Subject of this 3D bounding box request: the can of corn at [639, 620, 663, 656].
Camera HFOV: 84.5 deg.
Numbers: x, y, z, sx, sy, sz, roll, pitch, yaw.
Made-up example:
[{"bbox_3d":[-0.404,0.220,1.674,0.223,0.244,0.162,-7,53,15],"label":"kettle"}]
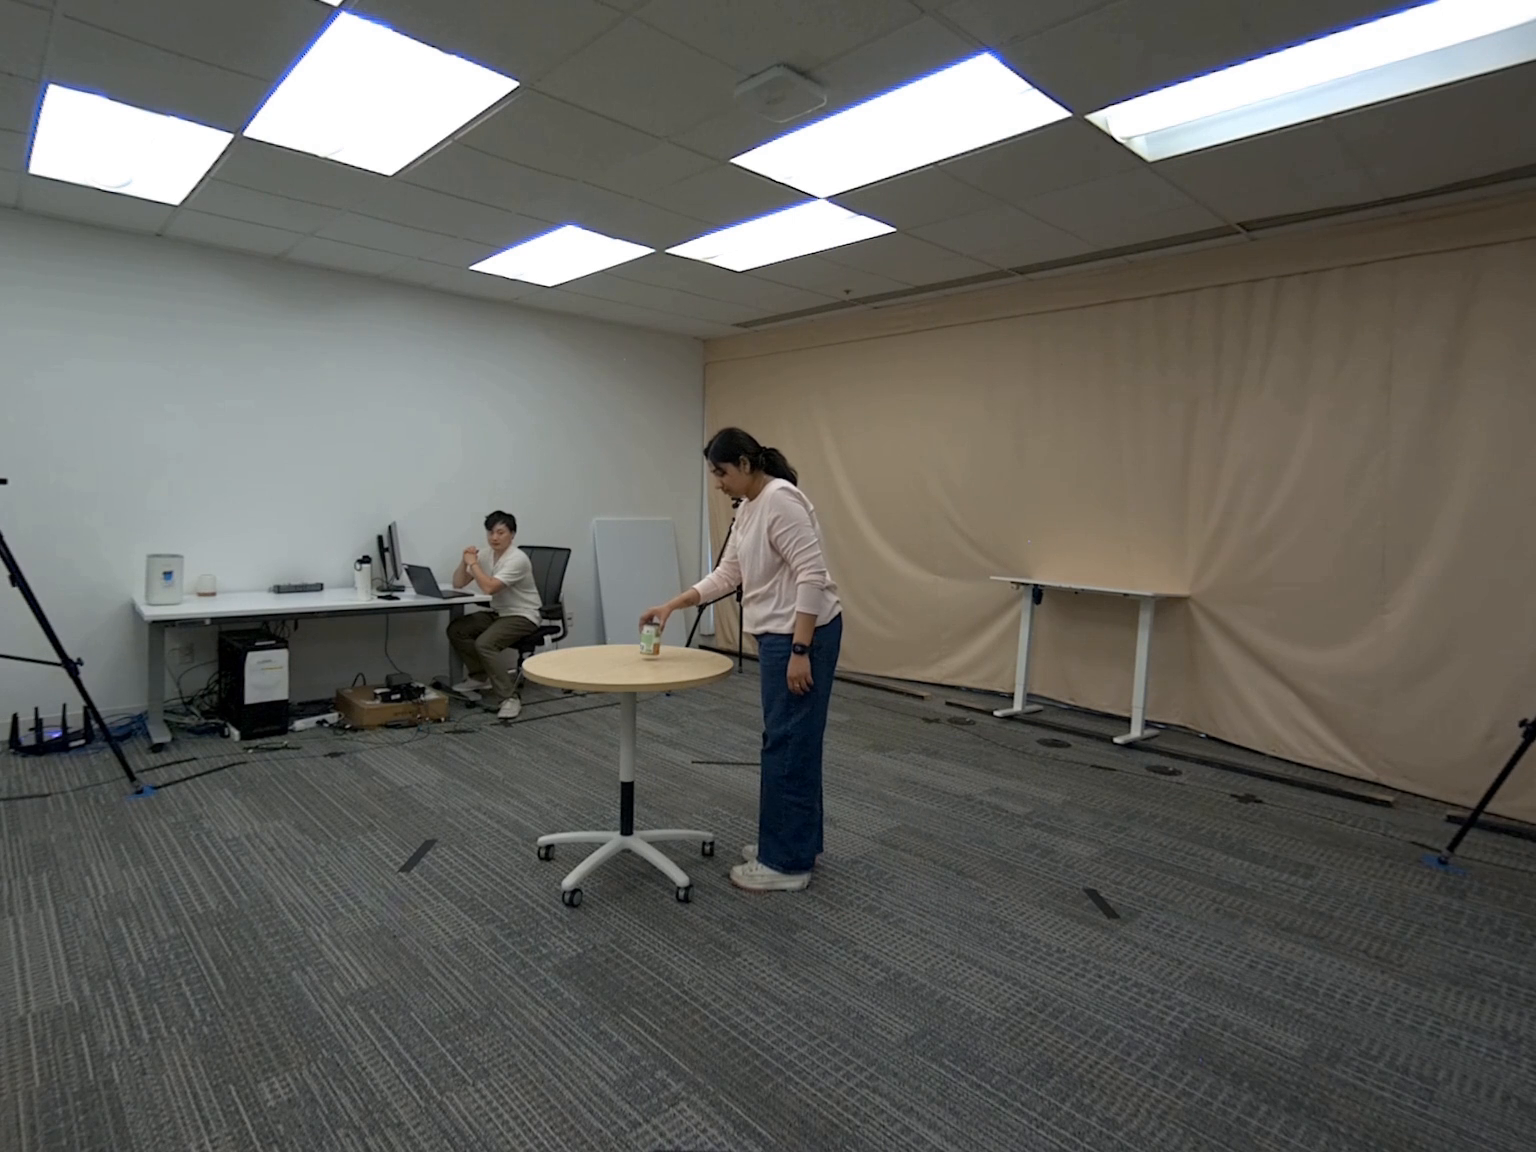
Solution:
[{"bbox_3d":[-0.438,0.231,3.137,0.074,0.111,0.074,9,3,-2],"label":"can of corn"}]
